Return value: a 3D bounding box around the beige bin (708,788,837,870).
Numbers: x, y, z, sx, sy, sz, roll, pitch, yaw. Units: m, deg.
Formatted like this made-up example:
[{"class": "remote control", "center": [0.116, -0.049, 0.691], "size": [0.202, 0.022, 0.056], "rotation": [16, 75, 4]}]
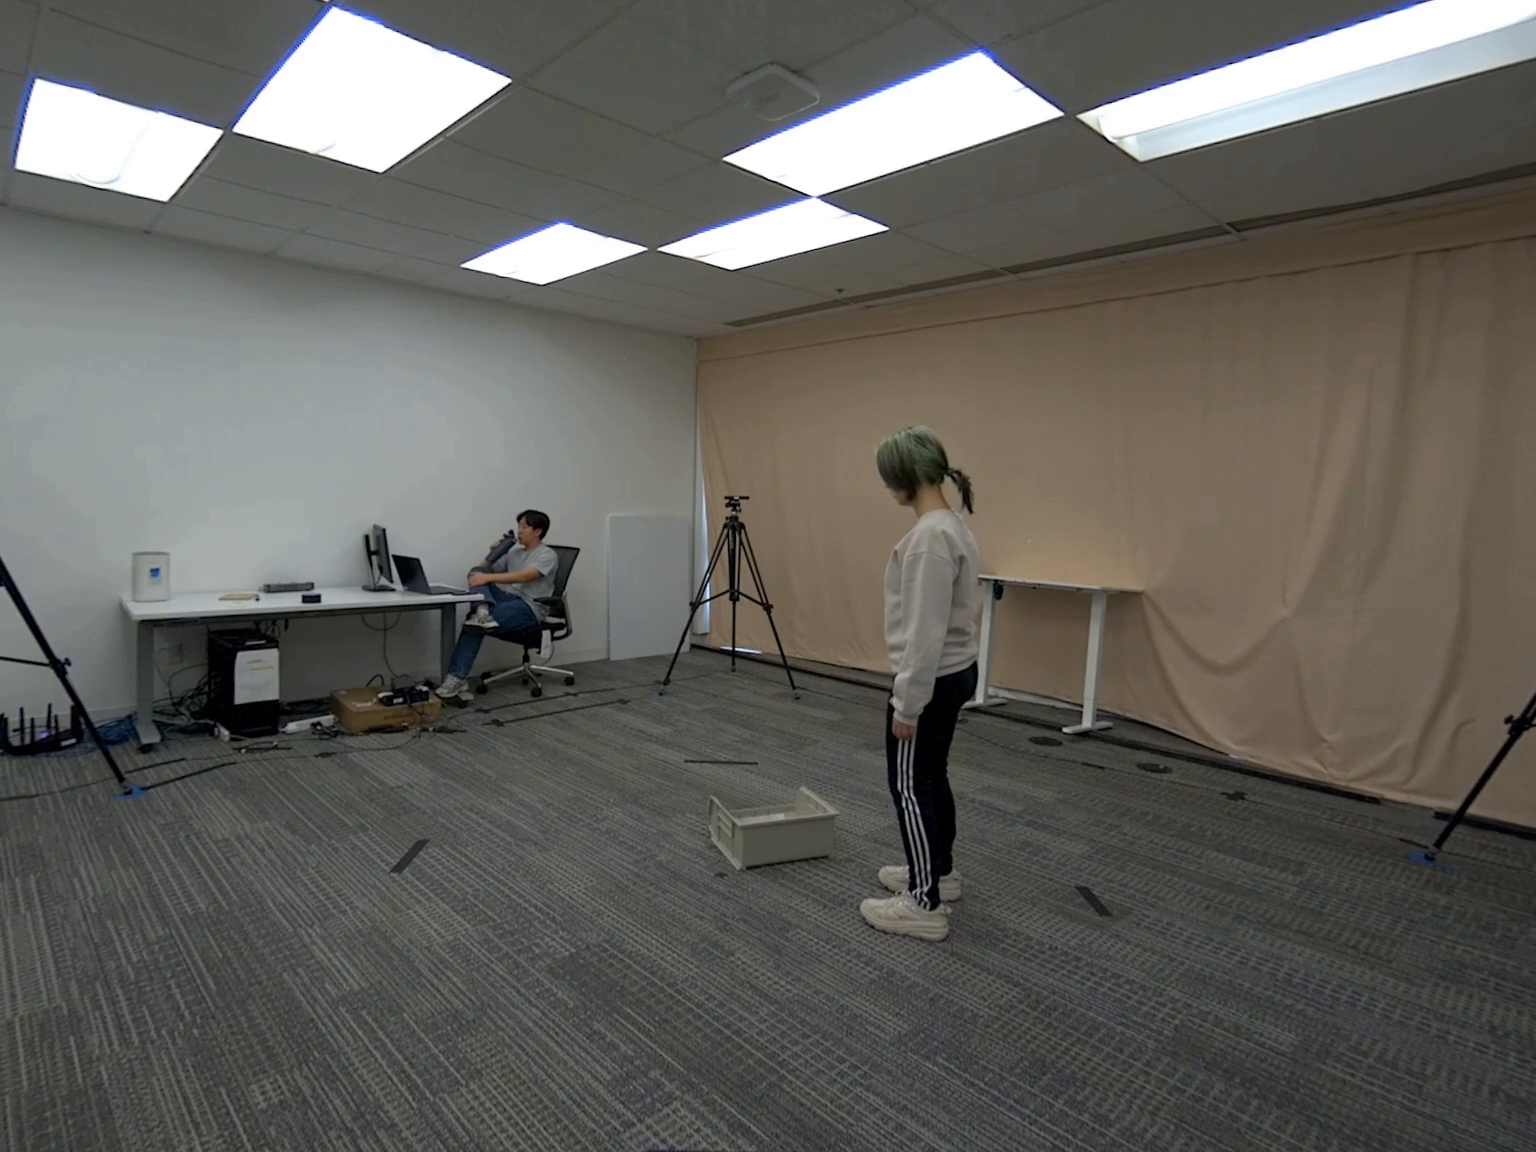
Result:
[{"class": "beige bin", "center": [0.004, 0.995, 3.373], "size": [0.415, 0.188, 0.385], "rotation": [0, 5, -22]}]
